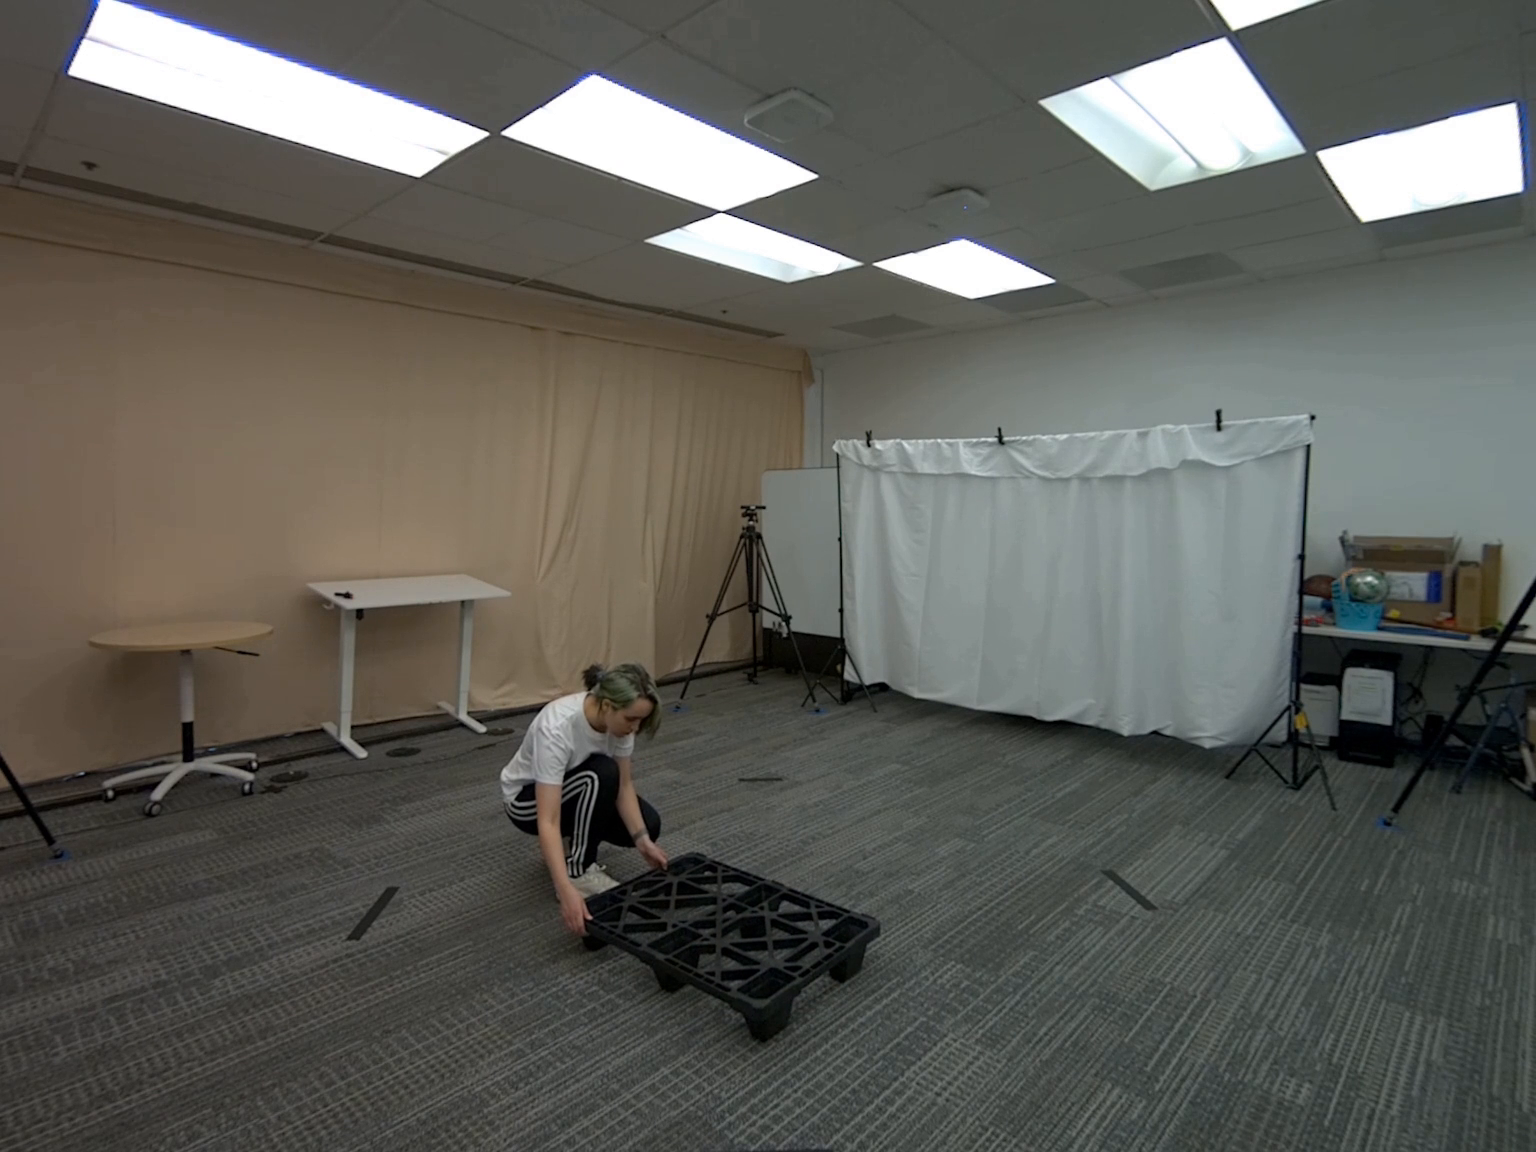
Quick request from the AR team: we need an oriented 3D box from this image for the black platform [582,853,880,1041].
[{"bbox_3d":[-0.148,1.109,2.596,0.832,0.143,0.587,4,6,40],"label":"black platform"}]
